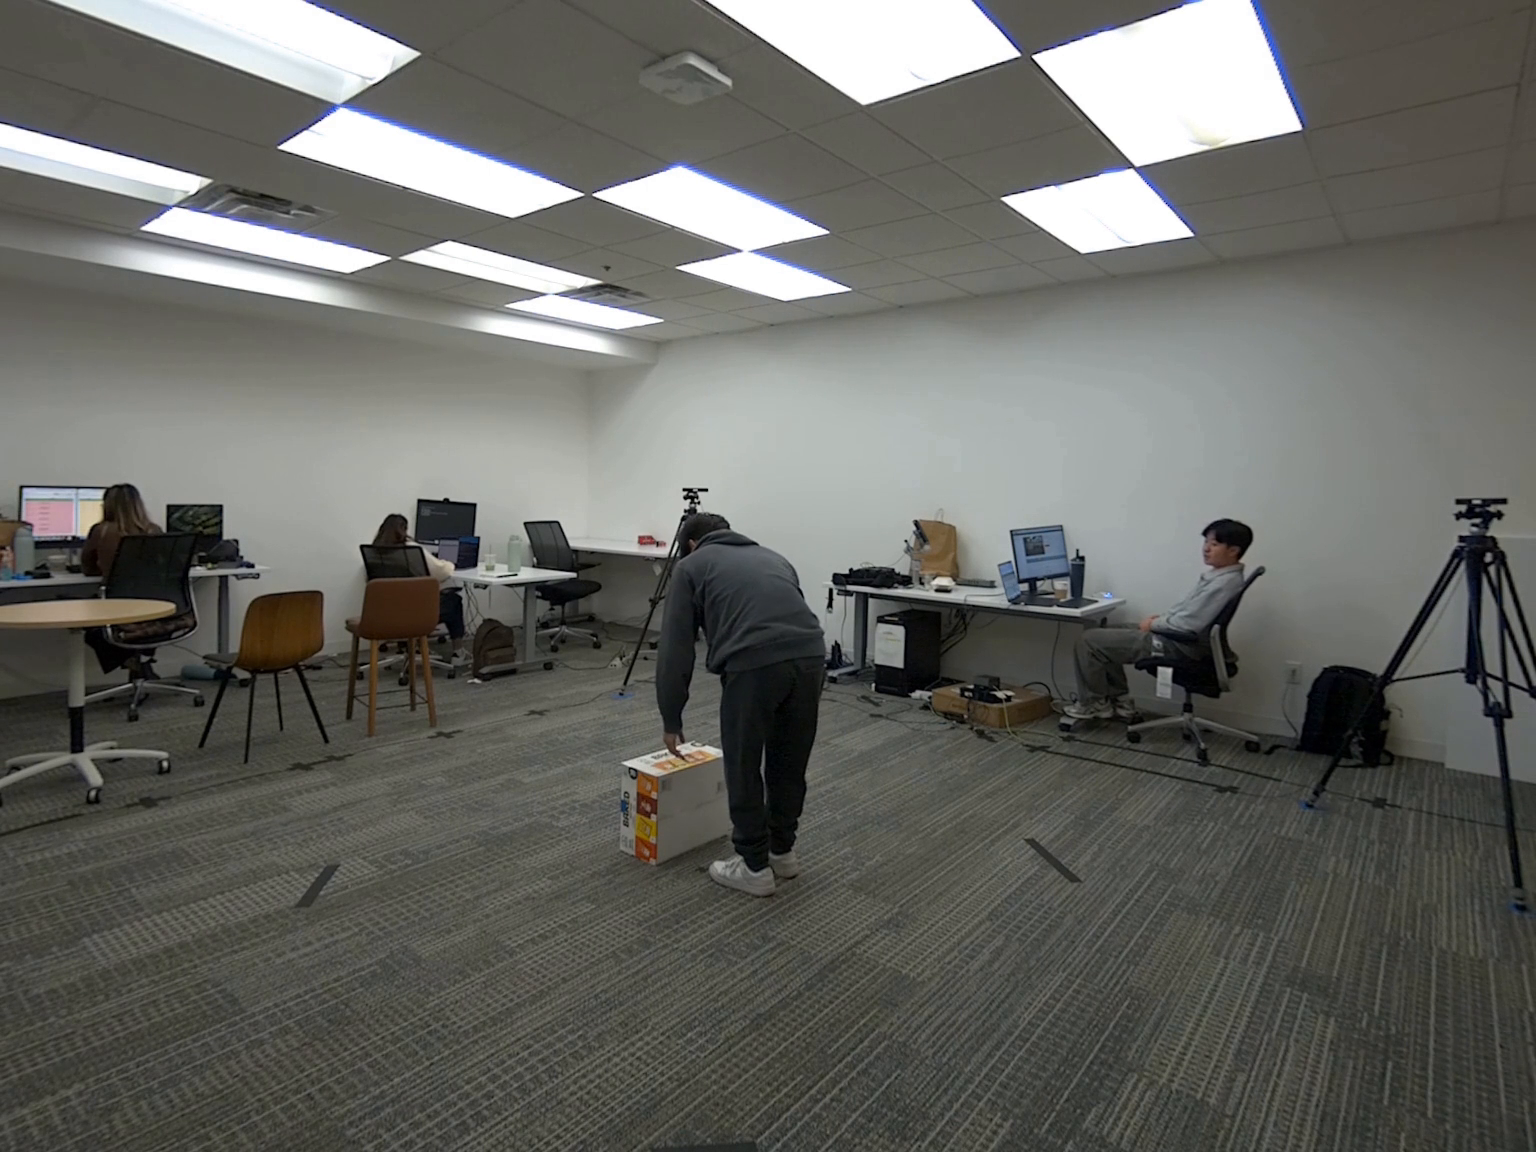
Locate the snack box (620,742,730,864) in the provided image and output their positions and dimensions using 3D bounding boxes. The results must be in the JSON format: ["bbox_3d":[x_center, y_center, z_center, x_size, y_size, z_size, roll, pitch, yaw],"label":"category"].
[{"bbox_3d":[-0.375,0.878,3.336,0.213,0.339,0.393,6,6,40],"label":"snack box"}]
